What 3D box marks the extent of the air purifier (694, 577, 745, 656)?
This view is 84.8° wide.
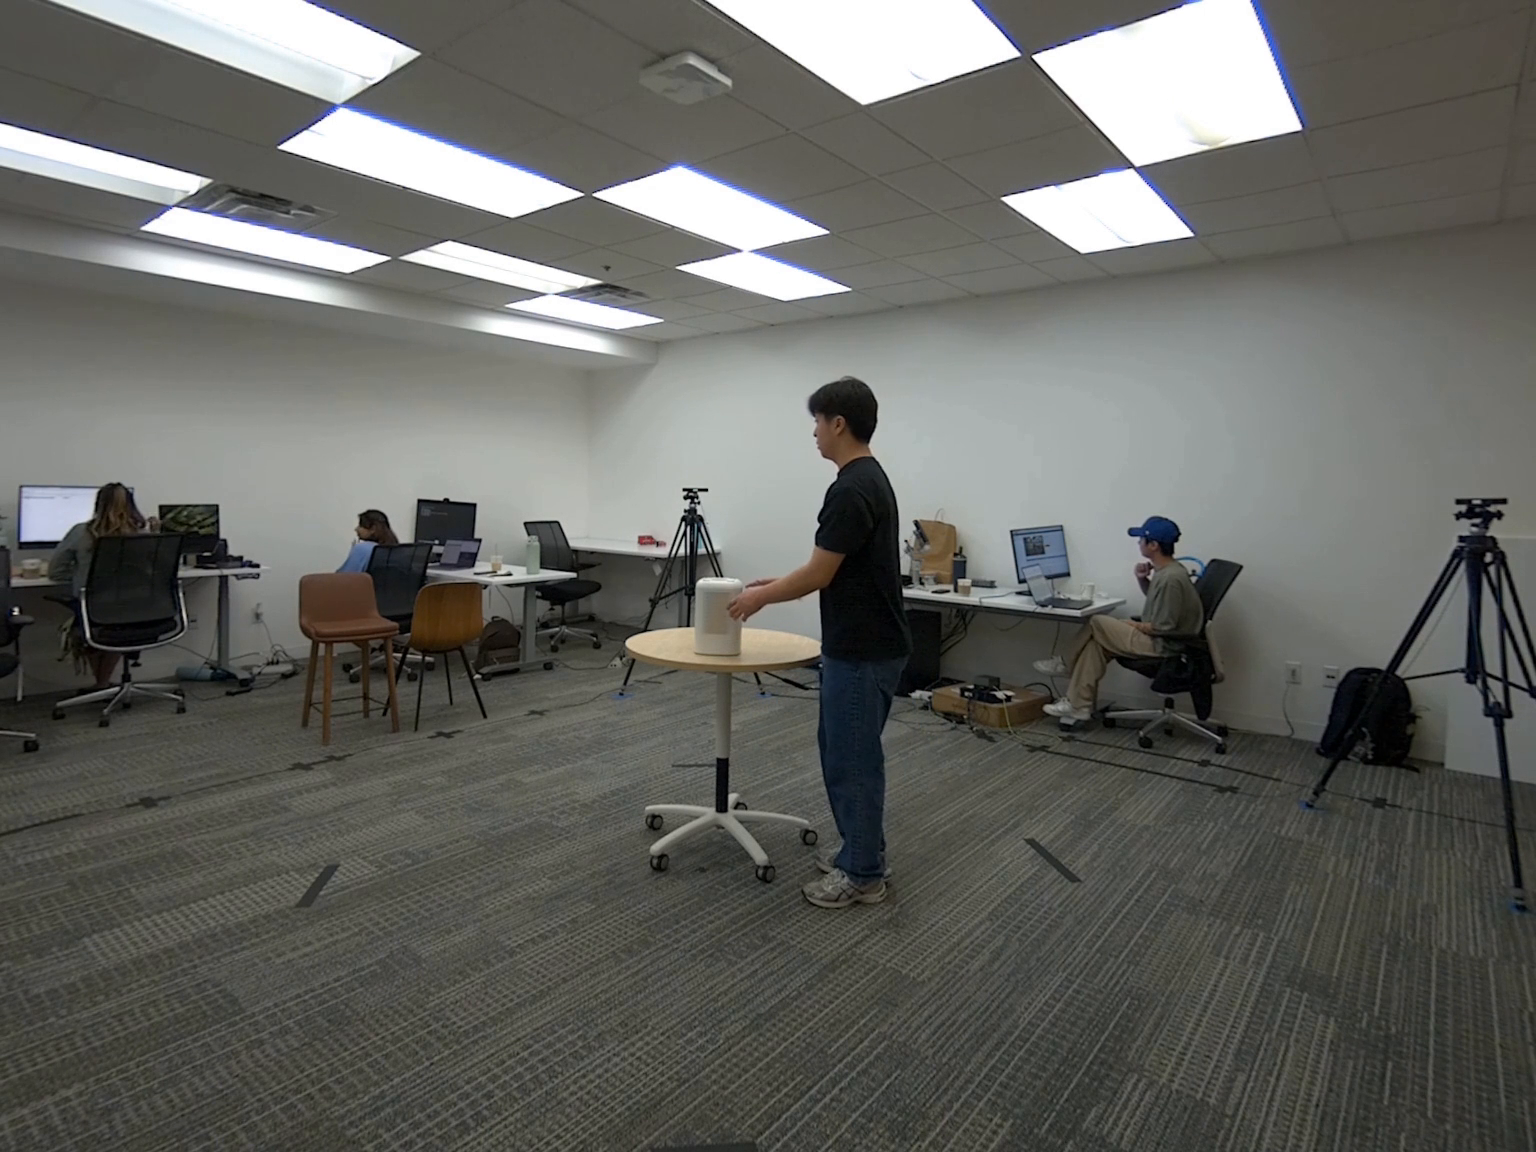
[{"bbox_3d":[-0.190,0.143,3.122,0.172,0.264,0.171,1,4,1],"label":"air purifier"}]
